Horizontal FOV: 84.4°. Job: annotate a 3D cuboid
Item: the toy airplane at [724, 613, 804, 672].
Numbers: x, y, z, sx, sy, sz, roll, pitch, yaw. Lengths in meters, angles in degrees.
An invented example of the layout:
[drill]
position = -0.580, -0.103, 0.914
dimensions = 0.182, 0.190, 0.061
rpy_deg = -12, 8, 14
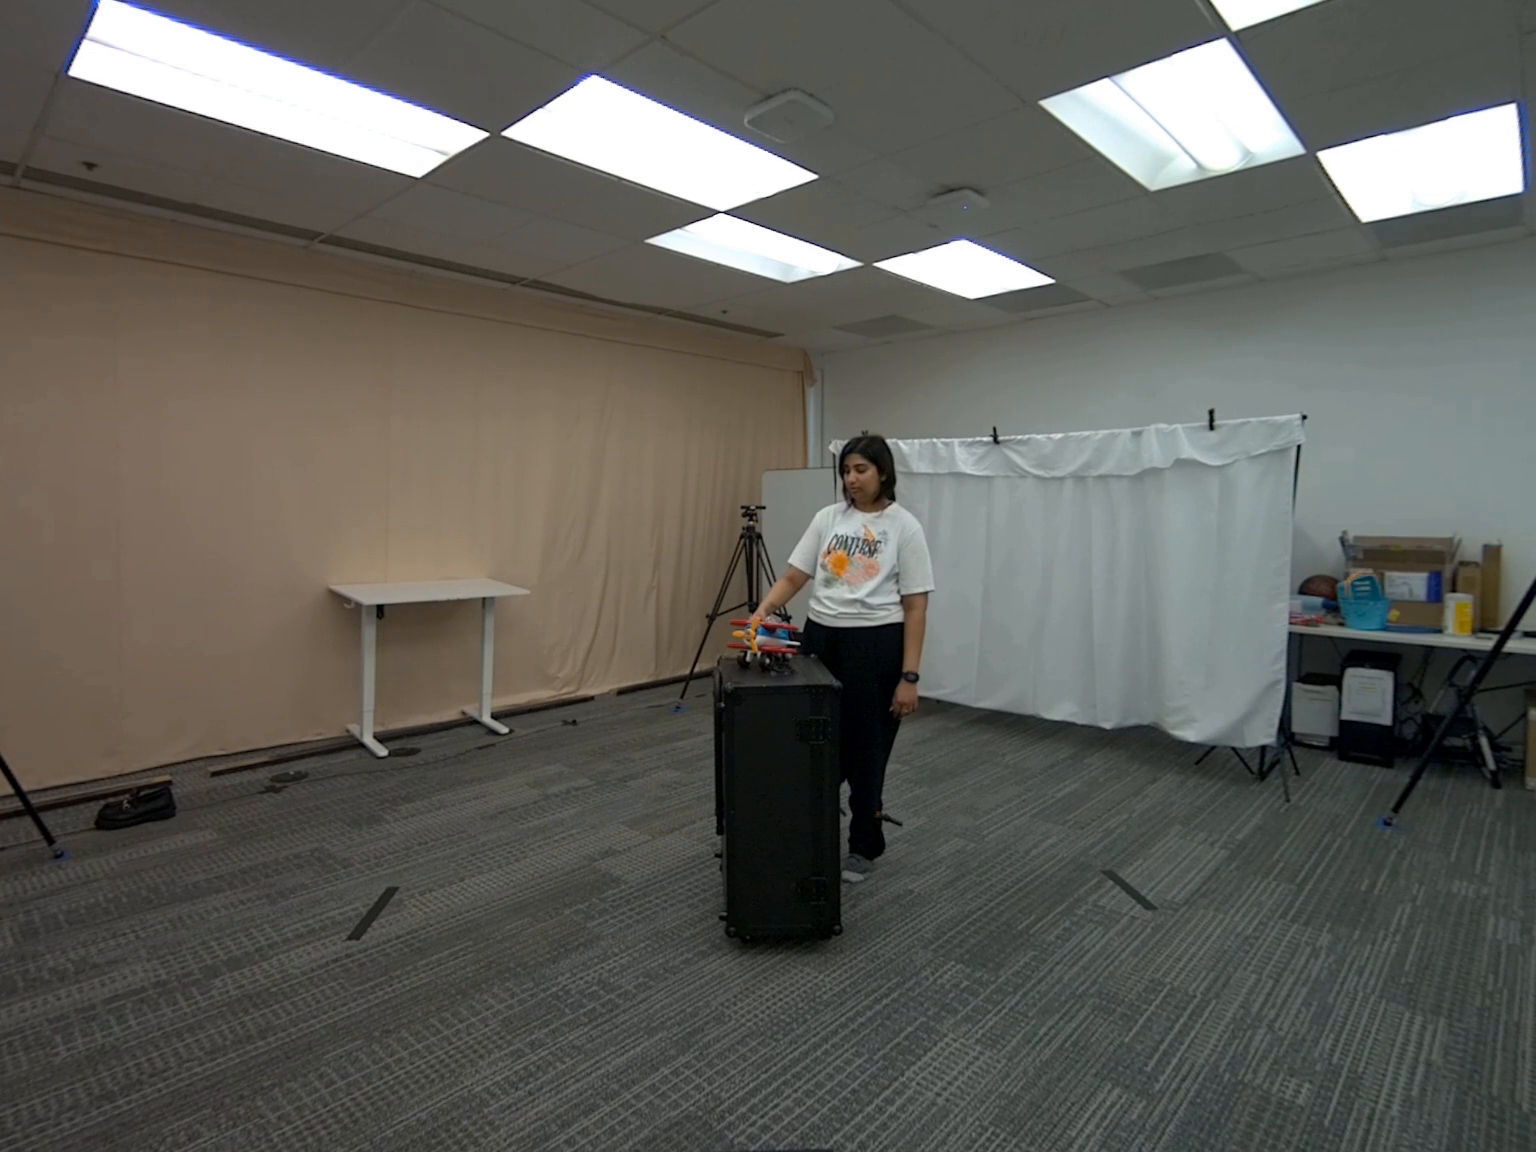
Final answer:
[toy airplane]
position = -0.010, 0.221, 2.891
dimensions = 0.253, 0.156, 0.258
rpy_deg = 0, 5, 5
